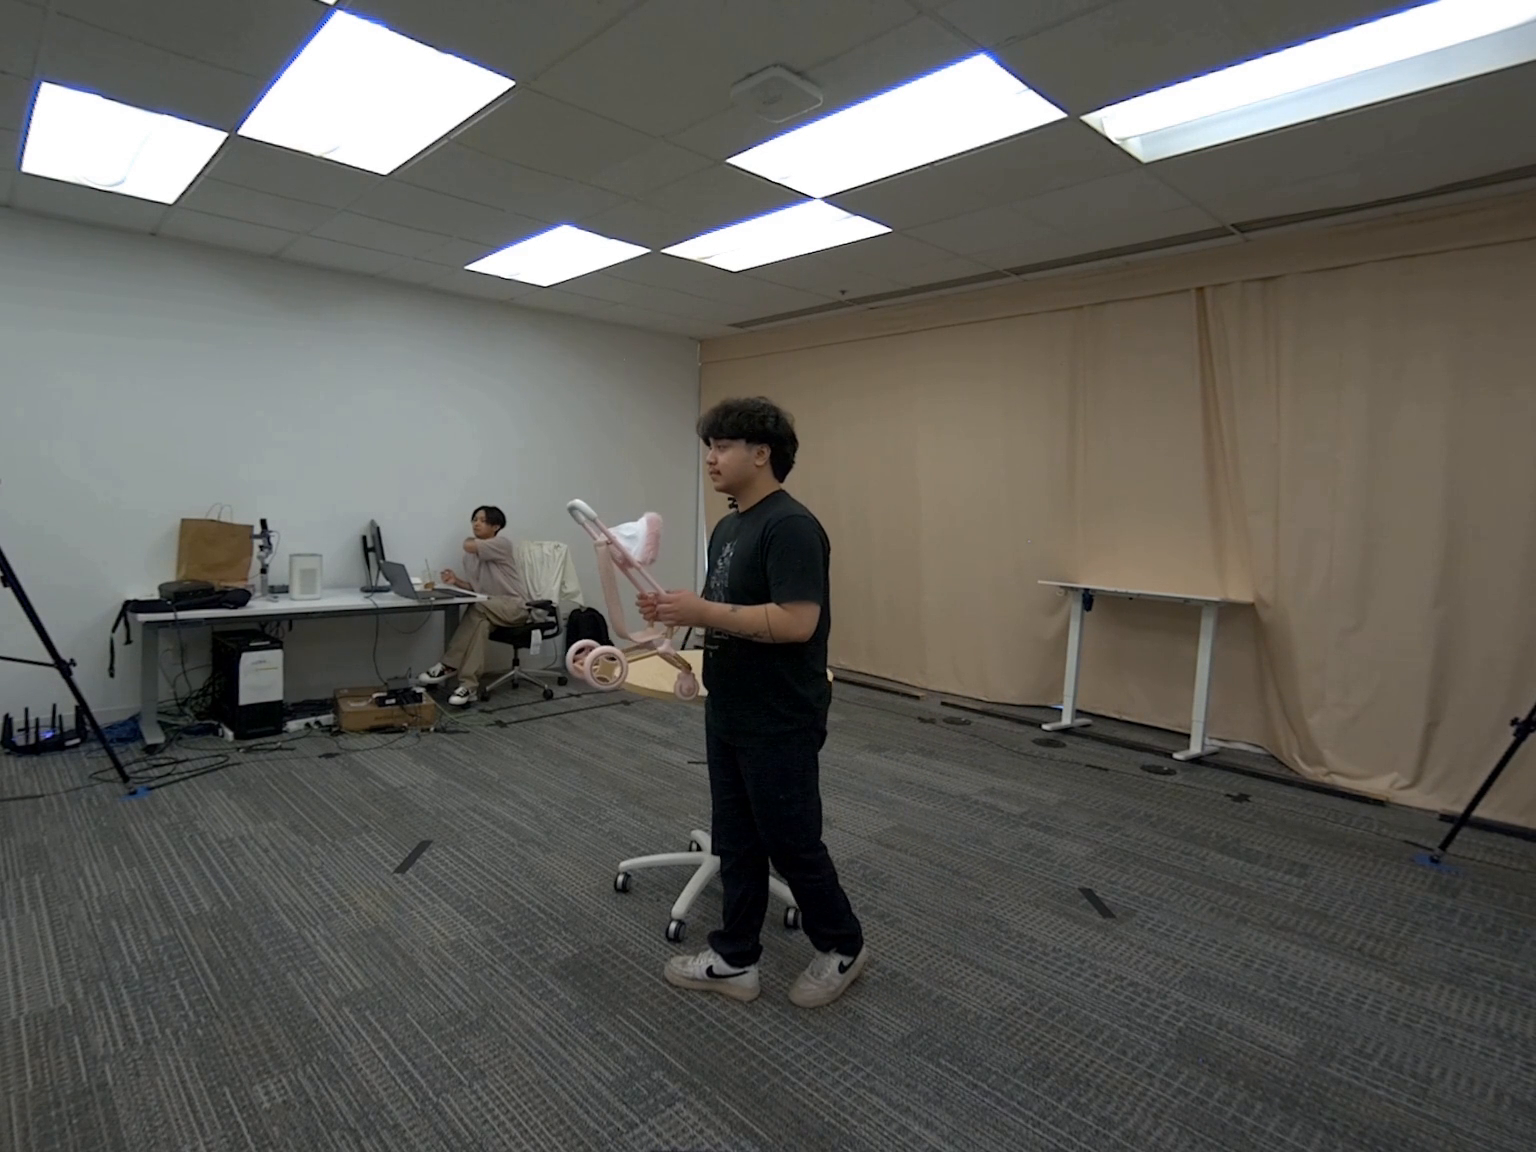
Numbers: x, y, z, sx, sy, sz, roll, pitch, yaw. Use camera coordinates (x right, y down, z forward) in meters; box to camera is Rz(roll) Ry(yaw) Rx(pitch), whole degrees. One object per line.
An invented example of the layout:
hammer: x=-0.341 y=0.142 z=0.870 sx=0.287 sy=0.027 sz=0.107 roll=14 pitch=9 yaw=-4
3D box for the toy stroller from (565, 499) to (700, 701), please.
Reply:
toy stroller: x=-0.346 y=0.074 z=2.222 sx=0.337 sy=0.536 sz=0.284 roll=-1 pitch=-2 yaw=-17
